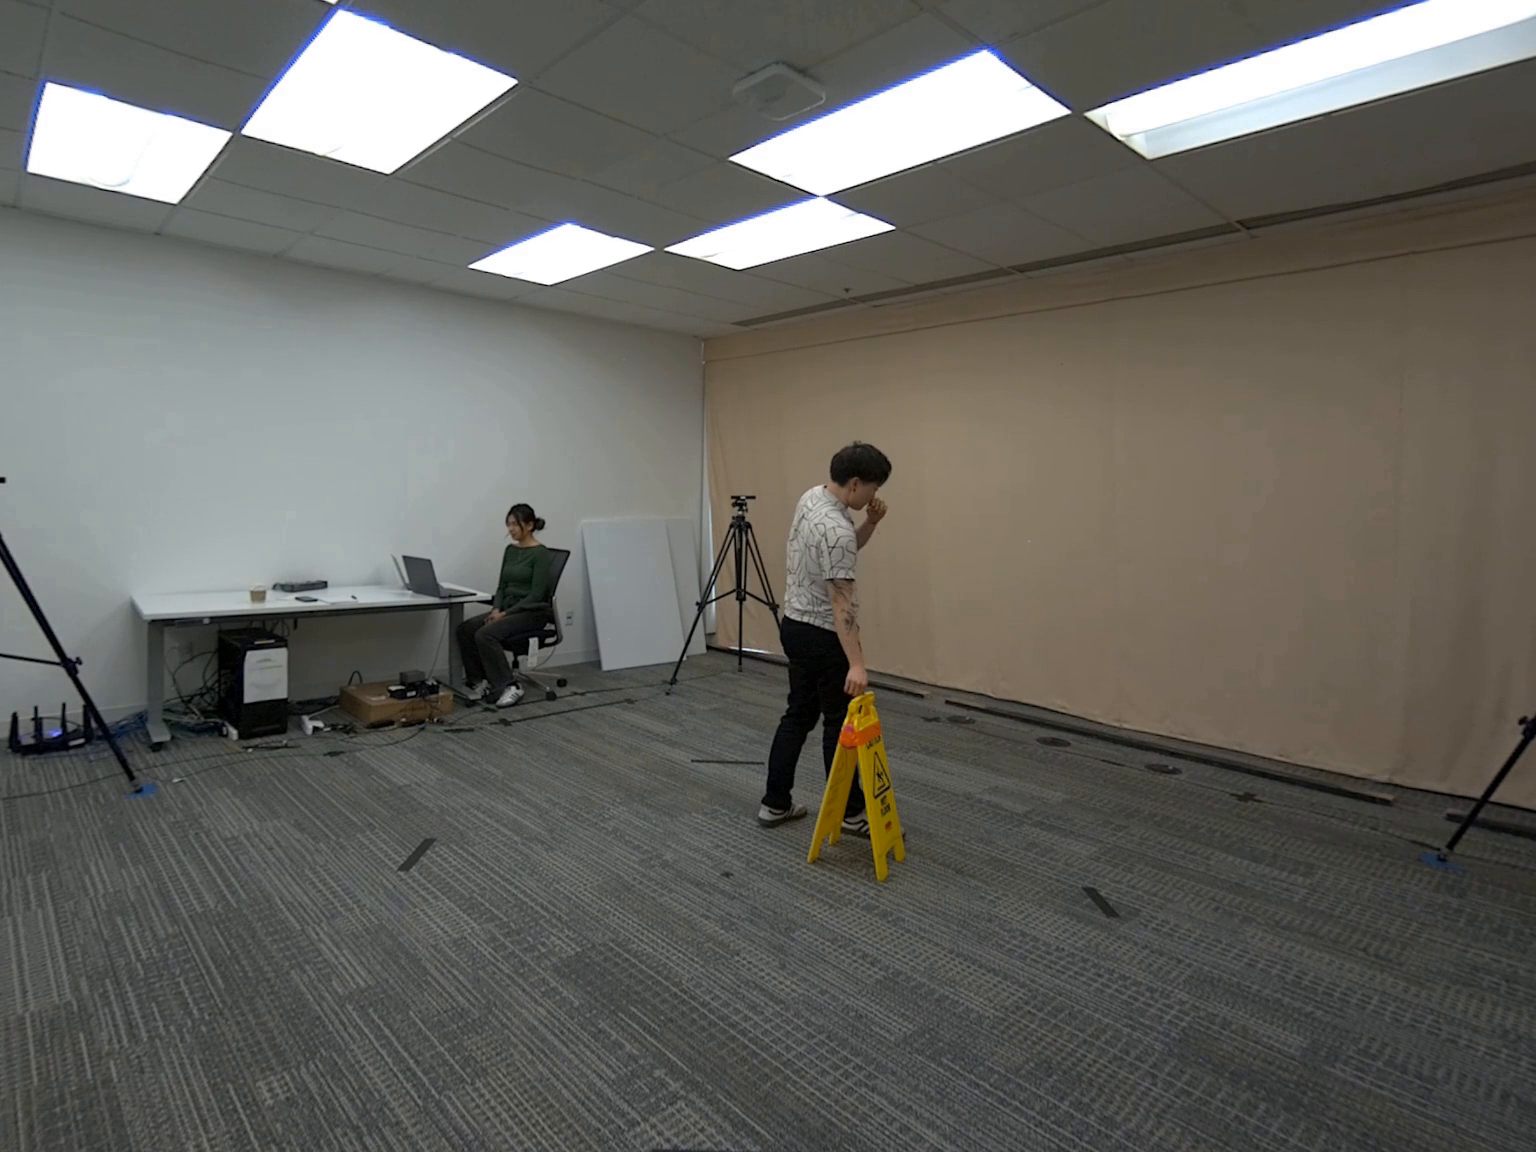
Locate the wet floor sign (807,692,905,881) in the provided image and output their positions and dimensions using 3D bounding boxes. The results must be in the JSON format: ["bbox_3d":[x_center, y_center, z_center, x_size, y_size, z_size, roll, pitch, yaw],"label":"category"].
[{"bbox_3d":[0.340,0.777,3.245,0.296,0.645,0.277,2,2,29],"label":"wet floor sign"}]
